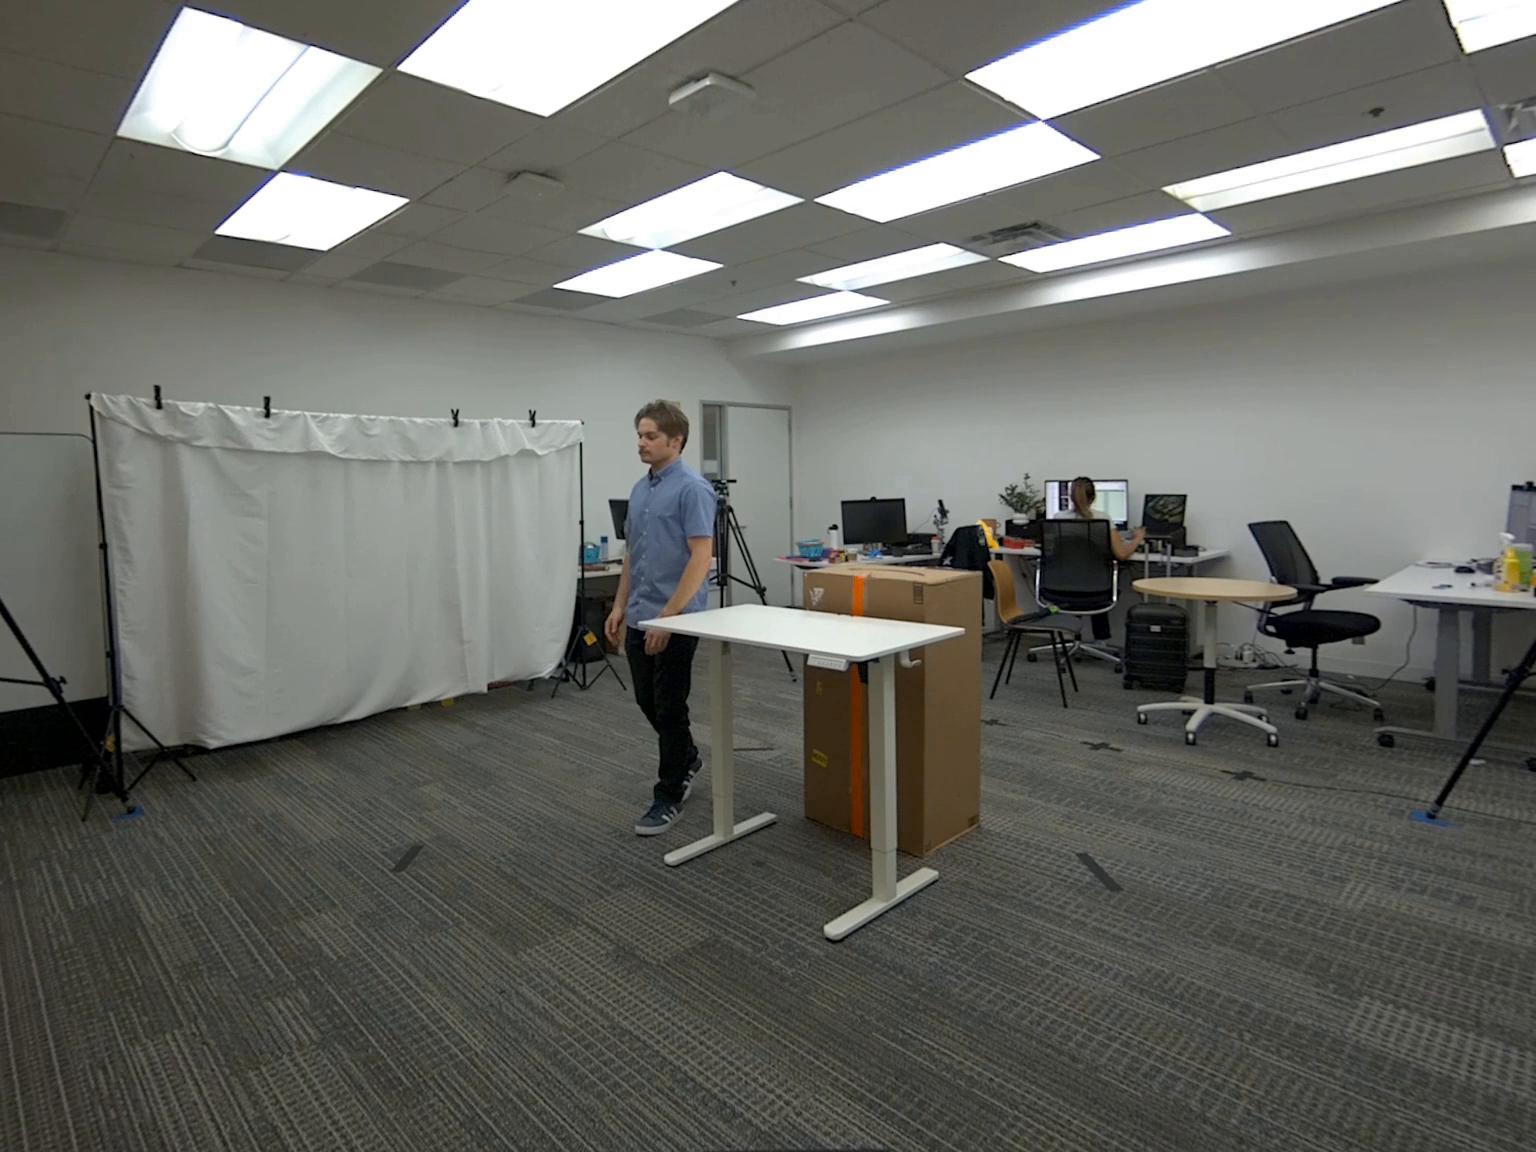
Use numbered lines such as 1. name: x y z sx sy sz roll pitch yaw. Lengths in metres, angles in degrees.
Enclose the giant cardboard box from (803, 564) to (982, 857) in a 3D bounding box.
1. giant cardboard box: 0.492 0.488 3.438 0.595 1.022 0.415 4 6 45
